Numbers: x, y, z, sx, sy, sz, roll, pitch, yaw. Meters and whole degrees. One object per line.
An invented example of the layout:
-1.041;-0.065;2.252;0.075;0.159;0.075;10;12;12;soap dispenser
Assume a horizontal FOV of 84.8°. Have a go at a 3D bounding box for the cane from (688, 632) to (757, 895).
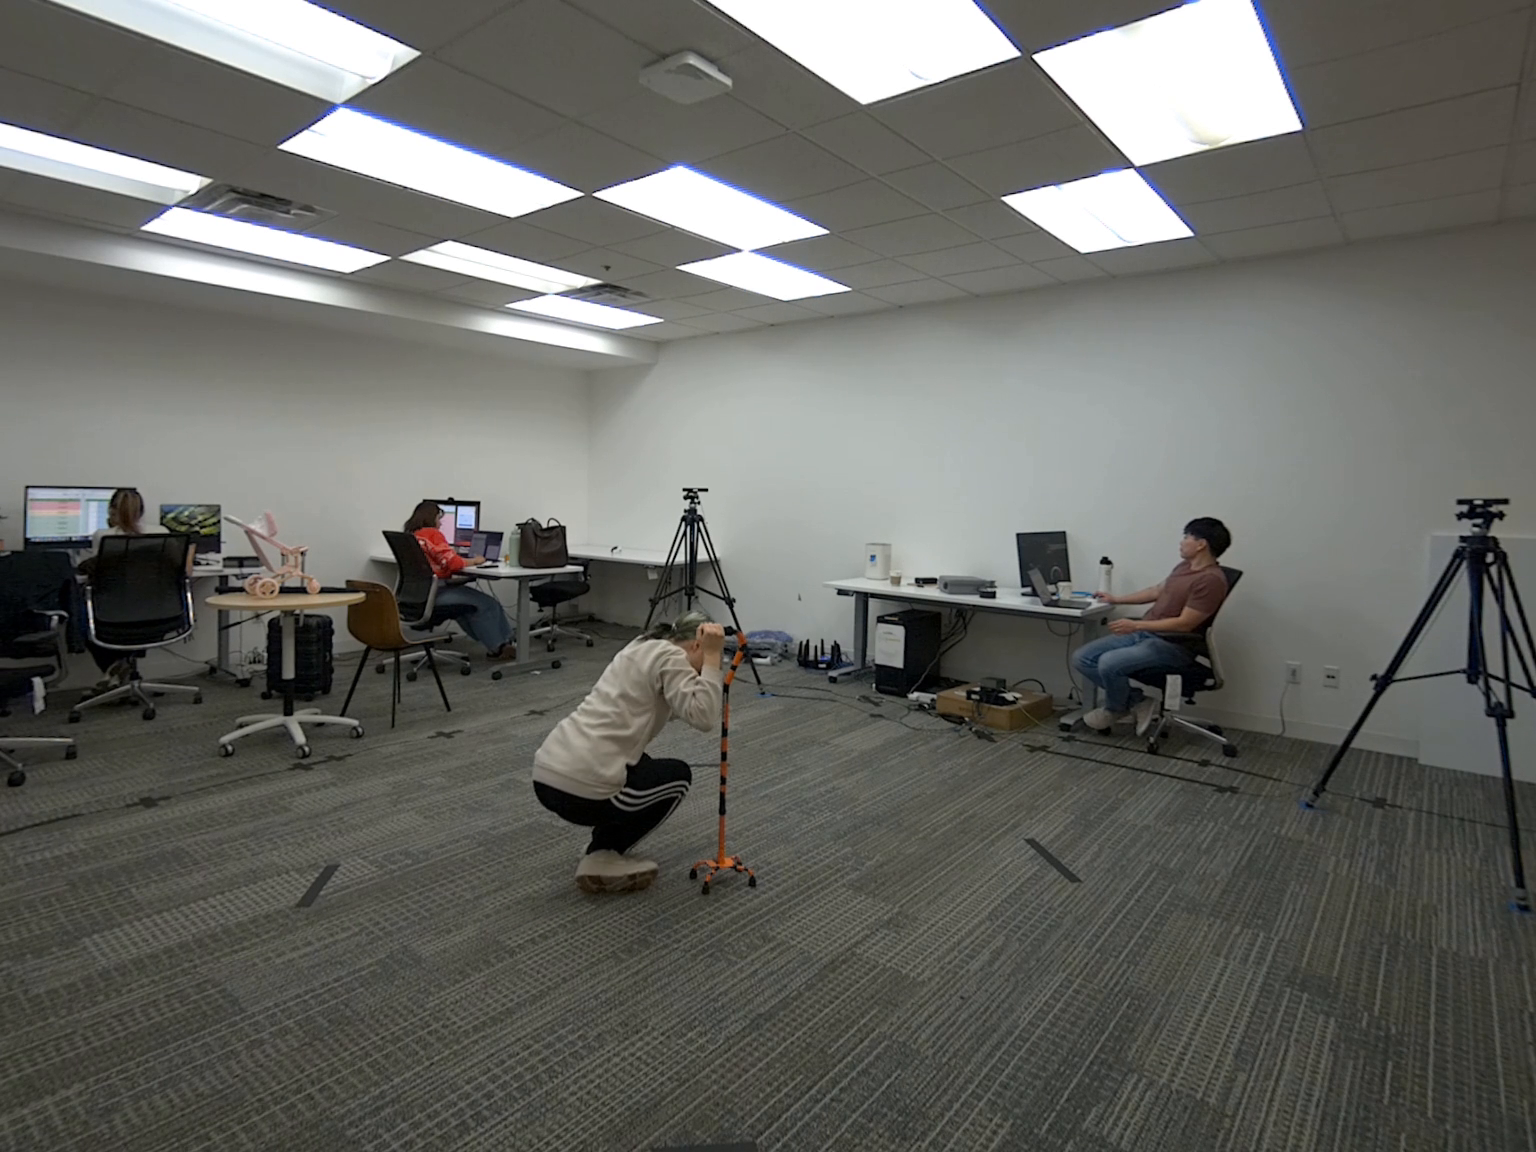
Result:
-0.151;0.634;2.973;0.202;0.904;0.156;1;5;-23;cane
